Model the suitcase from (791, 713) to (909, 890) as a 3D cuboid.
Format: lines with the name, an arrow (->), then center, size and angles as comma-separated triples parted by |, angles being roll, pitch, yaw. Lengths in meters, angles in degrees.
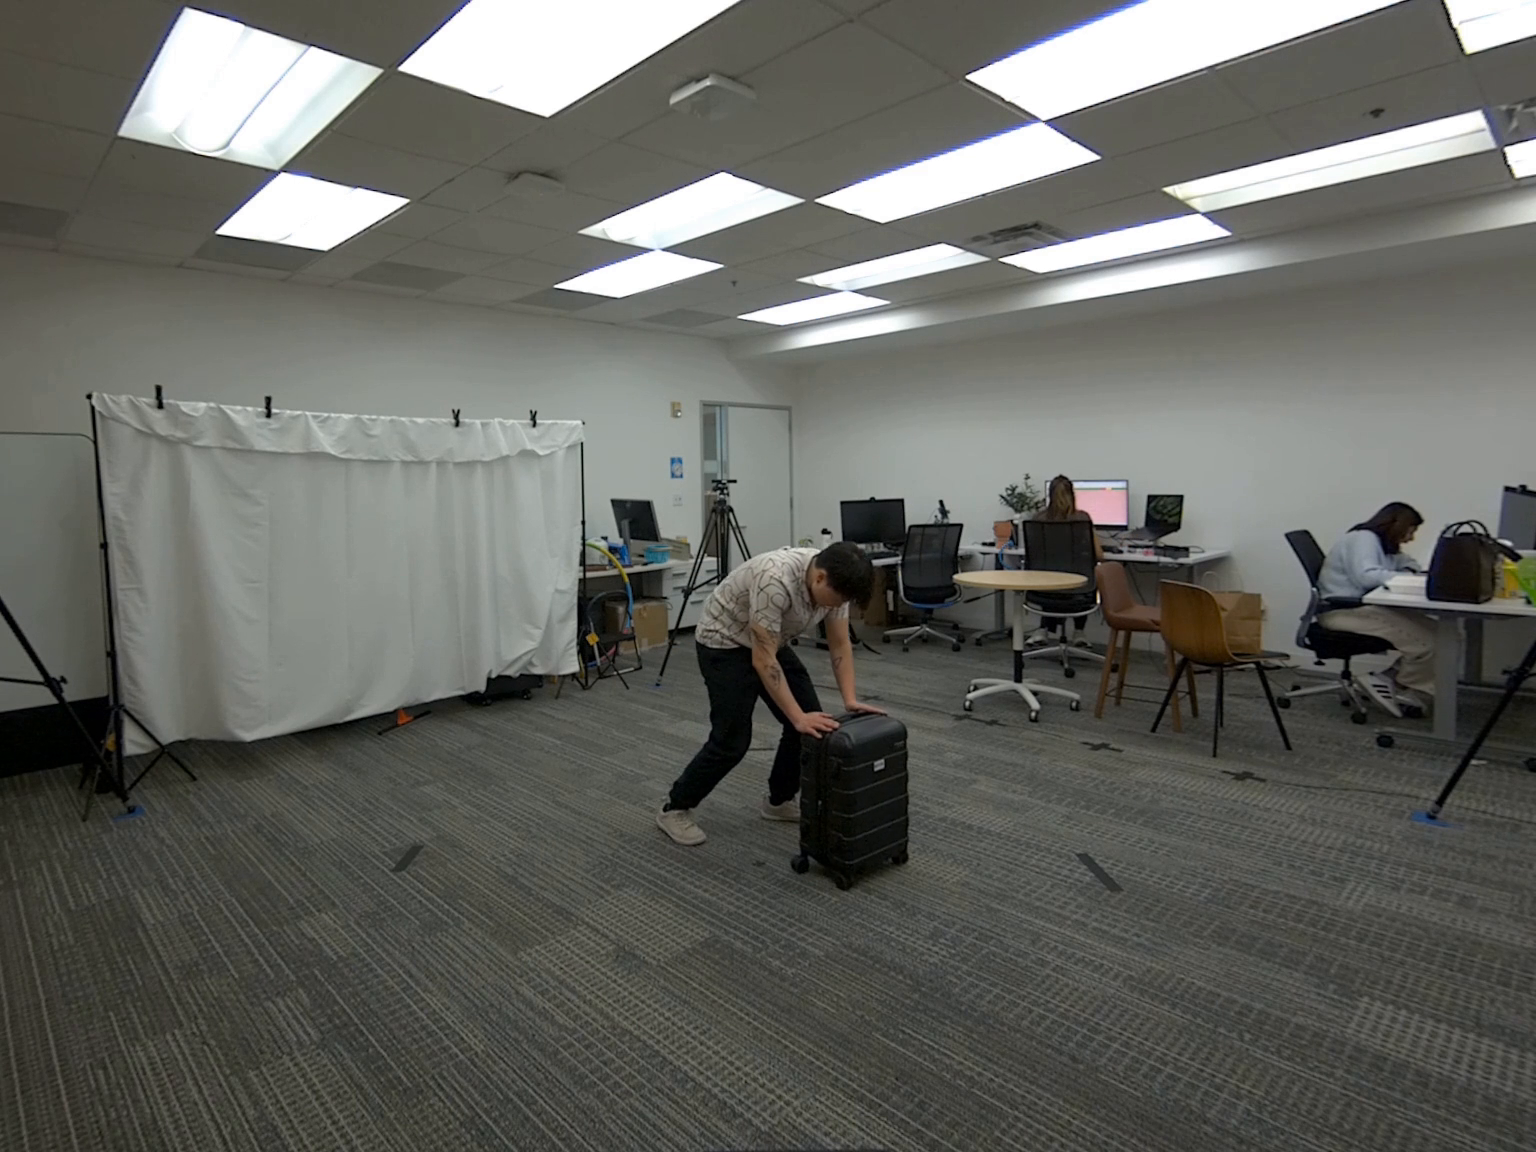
suitcase -> 0.316, 0.773, 3.051 | 0.365, 0.547, 0.256 | -4, 7, -41
